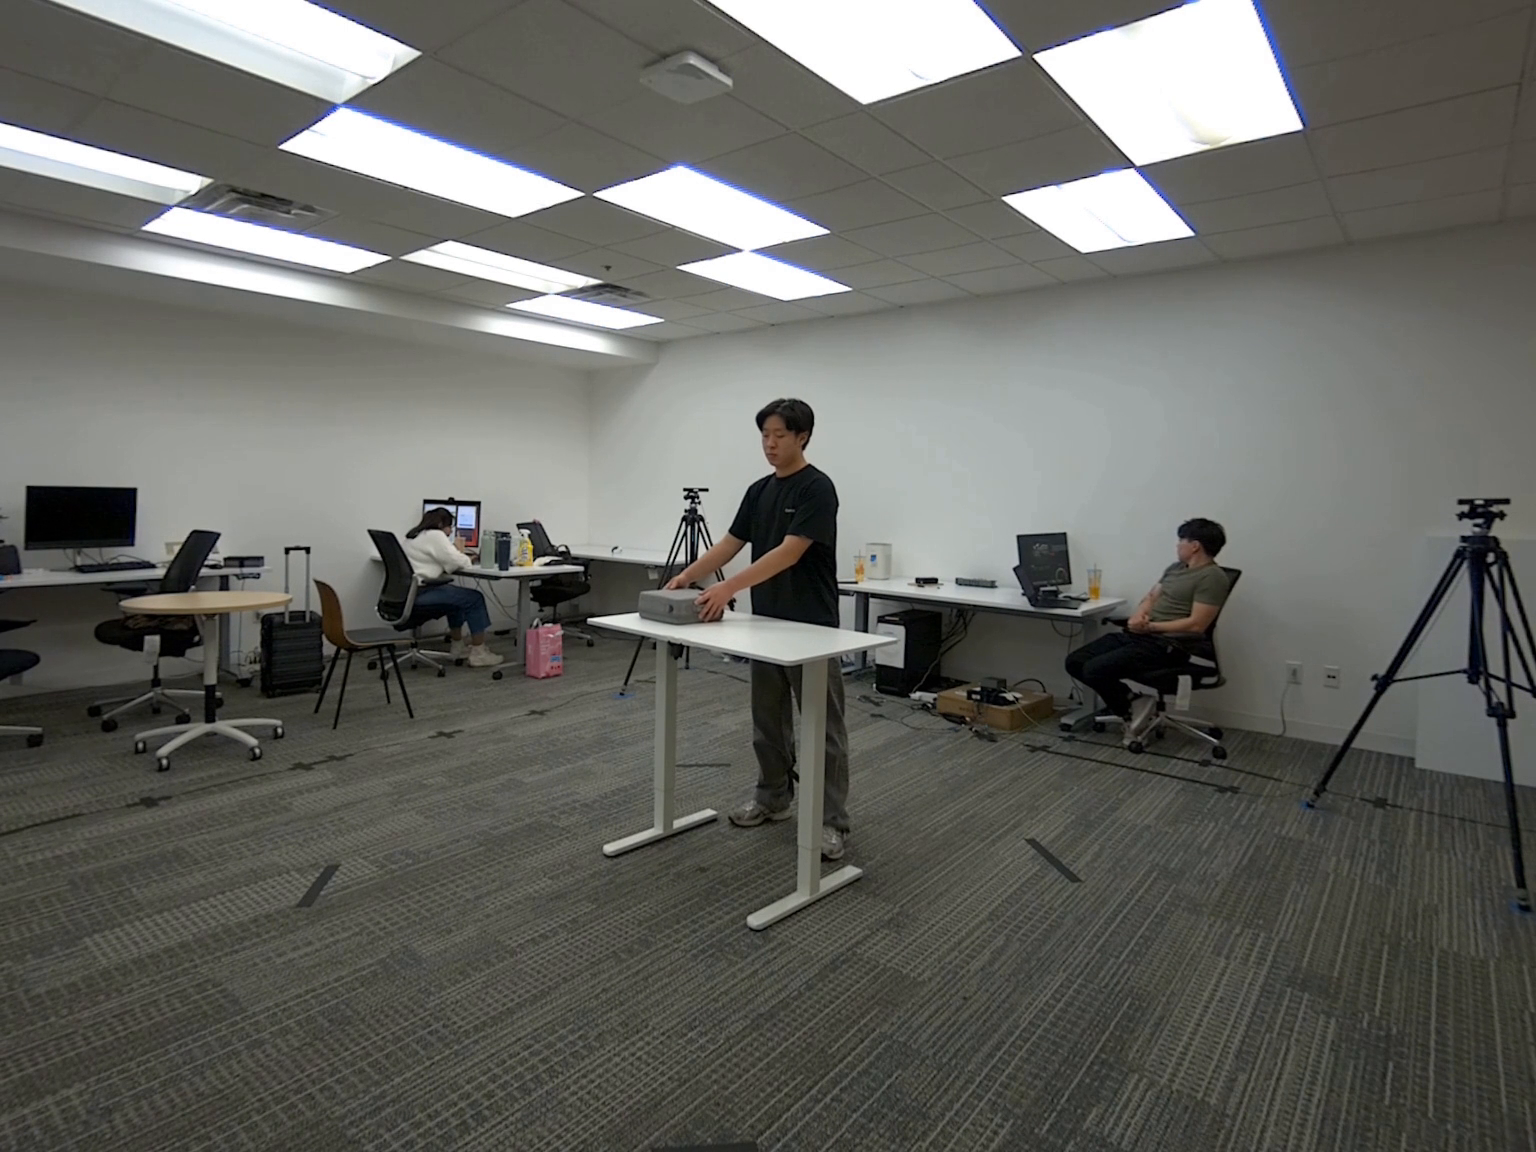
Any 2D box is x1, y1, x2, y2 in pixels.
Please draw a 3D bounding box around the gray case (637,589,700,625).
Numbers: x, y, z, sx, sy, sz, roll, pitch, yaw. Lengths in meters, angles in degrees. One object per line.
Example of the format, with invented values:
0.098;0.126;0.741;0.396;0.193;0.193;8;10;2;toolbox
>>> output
-0.339;0.114;3.278;0.255;0.103;0.297;-4;7;-44;gray case
